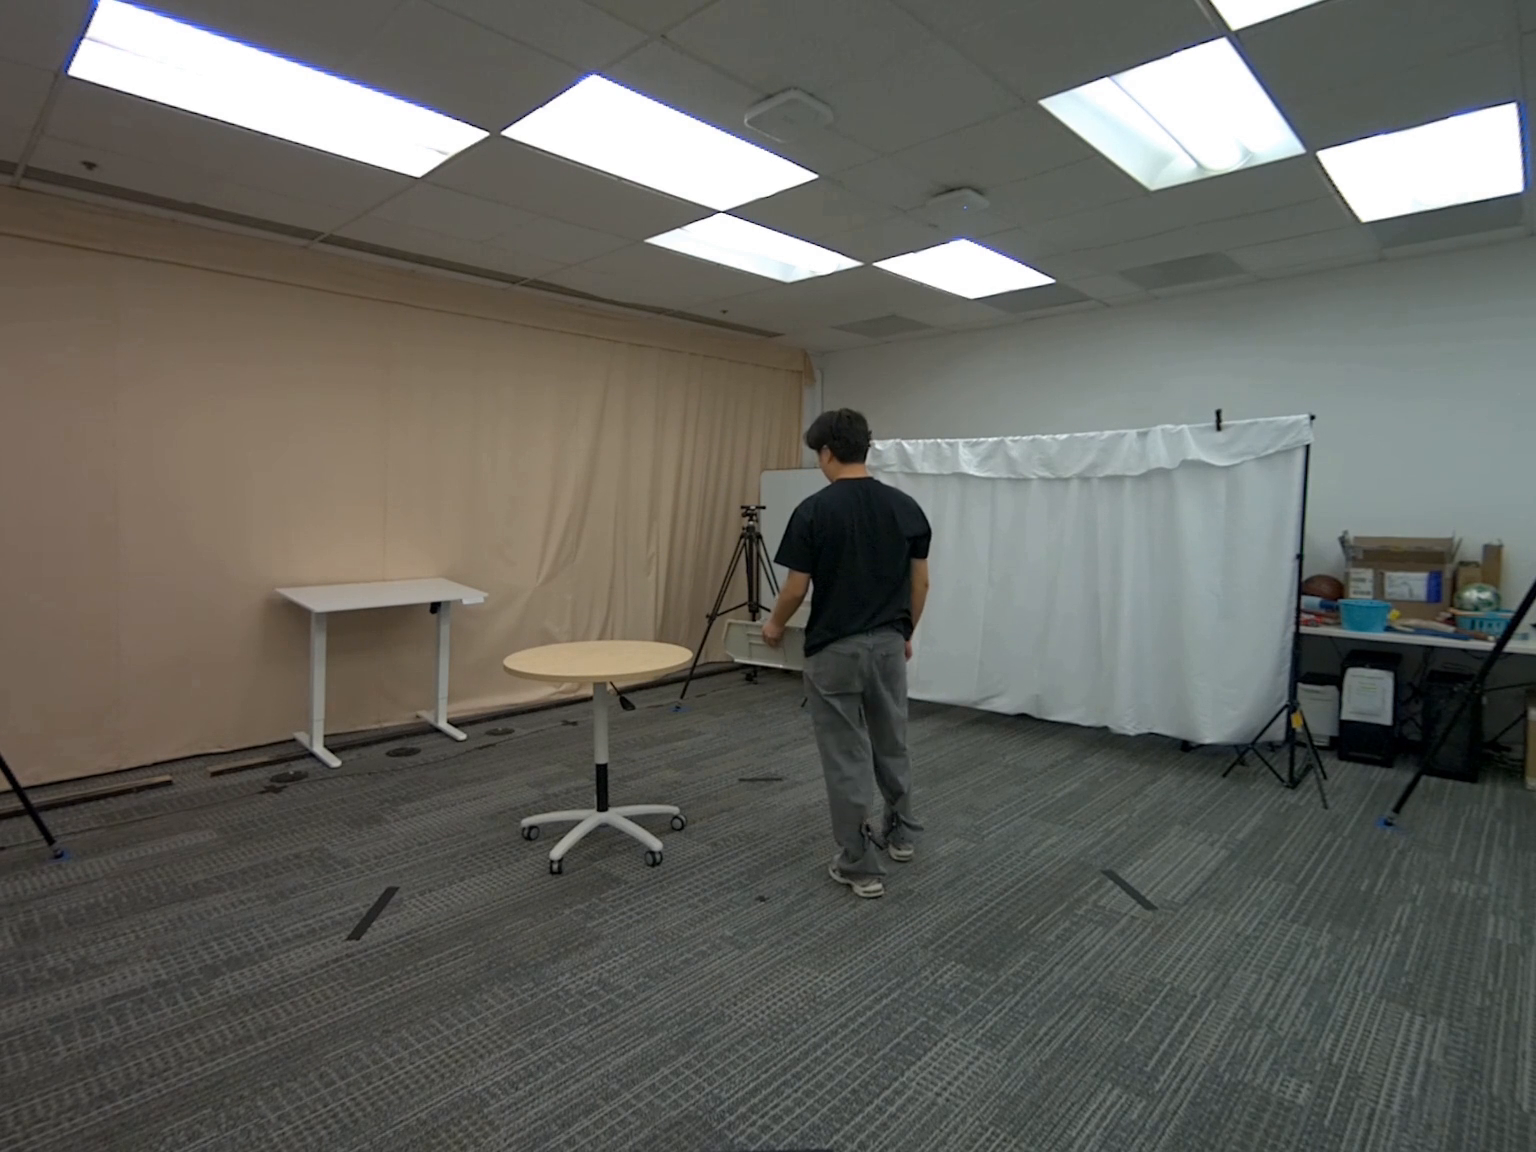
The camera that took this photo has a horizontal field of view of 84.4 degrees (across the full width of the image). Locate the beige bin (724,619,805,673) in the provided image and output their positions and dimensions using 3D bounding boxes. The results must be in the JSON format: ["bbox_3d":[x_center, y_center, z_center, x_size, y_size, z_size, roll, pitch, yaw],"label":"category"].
[{"bbox_3d":[0.075,0.229,3.512,0.388,0.187,0.413,4,14,30],"label":"beige bin"}]
